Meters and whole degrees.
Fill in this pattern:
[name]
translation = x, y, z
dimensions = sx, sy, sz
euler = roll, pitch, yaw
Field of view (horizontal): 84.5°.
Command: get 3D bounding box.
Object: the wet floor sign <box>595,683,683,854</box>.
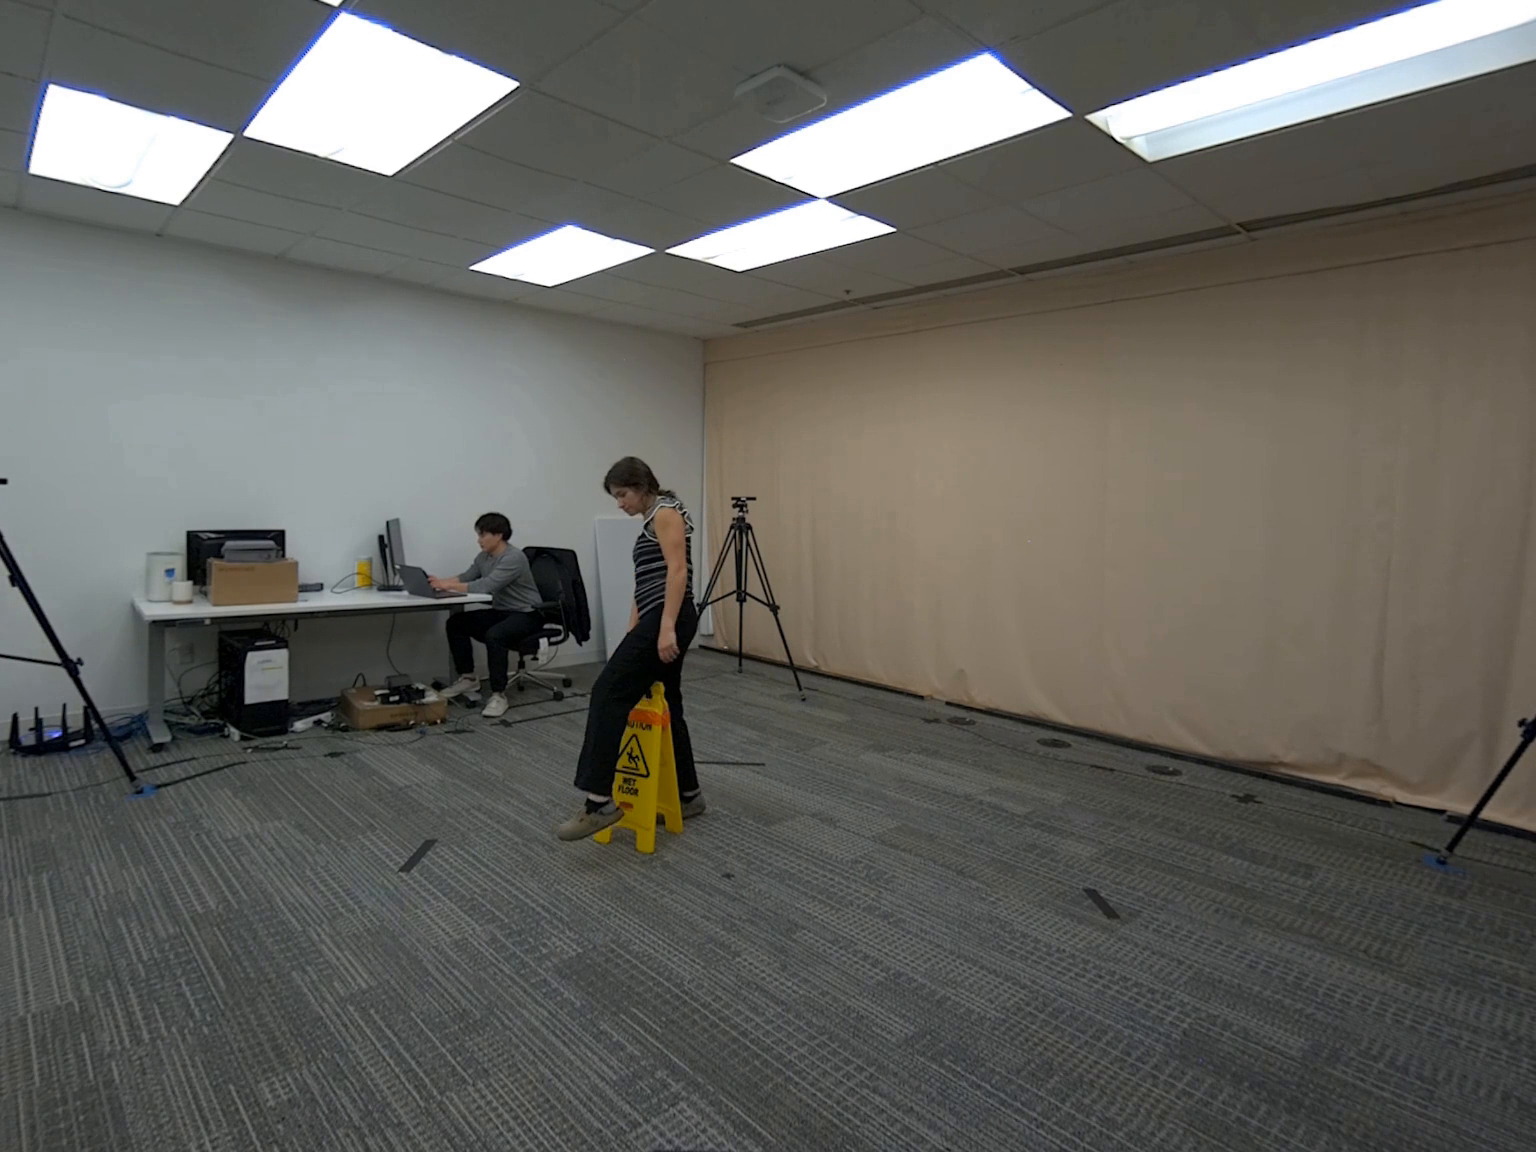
[wet floor sign]
translation = -0.526, 0.744, 3.440
dimensions = 0.287, 0.645, 0.285
euler = 4, 3, 24
